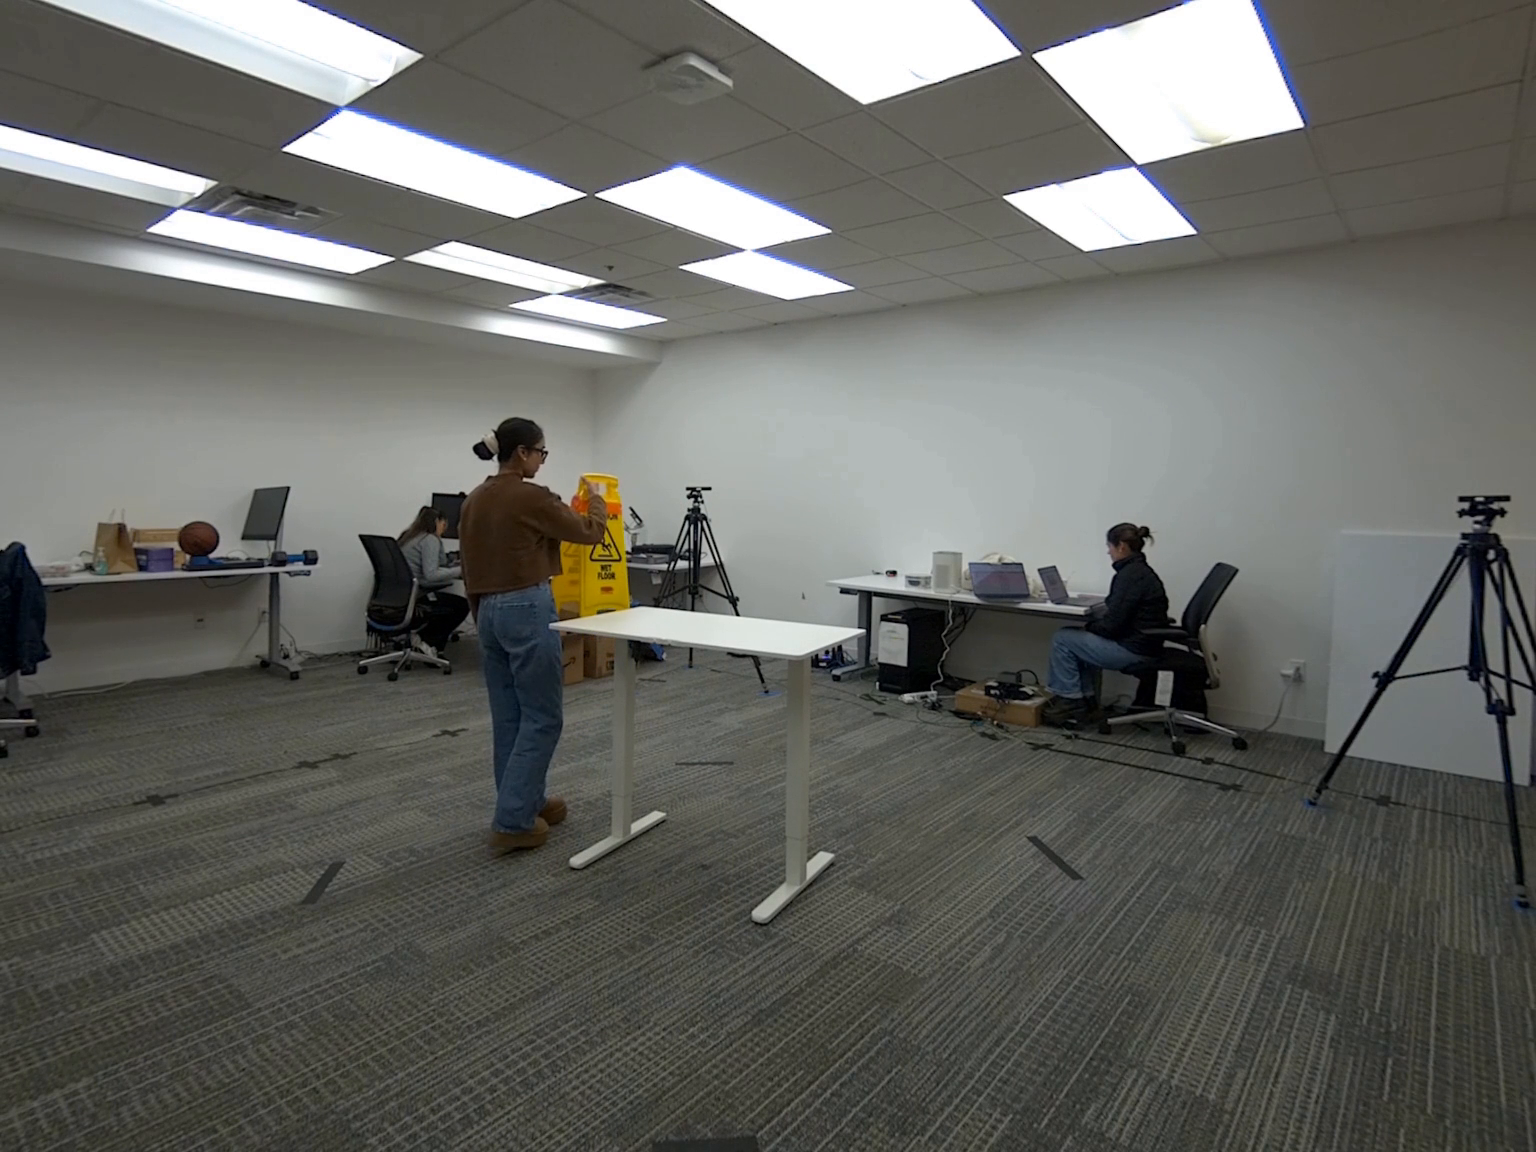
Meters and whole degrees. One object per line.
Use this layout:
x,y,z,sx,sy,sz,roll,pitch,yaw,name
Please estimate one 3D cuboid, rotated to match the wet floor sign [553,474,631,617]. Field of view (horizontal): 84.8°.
-0.770,-0.119,3.713,0.300,0.644,0.273,9,5,40,wet floor sign
